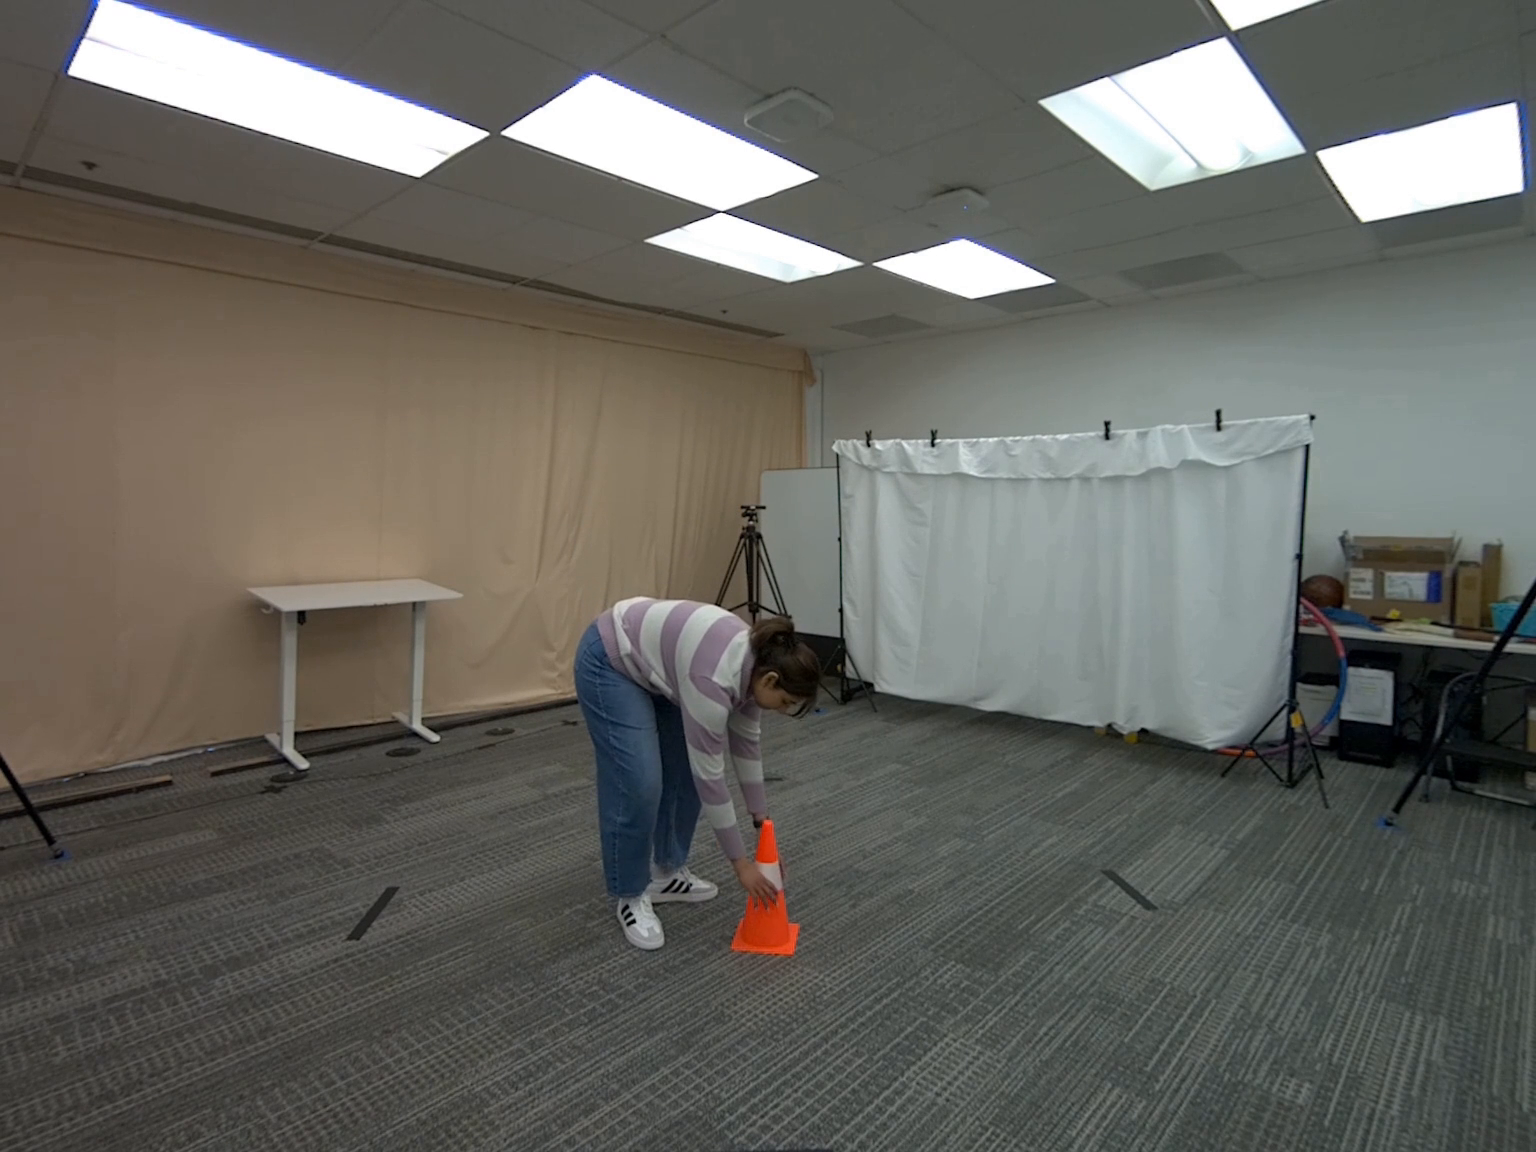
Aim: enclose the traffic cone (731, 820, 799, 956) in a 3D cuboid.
[{"bbox_3d":[-0.012,0.987,2.710,0.207,0.383,0.201,-1,2,9],"label":"traffic cone"}]
